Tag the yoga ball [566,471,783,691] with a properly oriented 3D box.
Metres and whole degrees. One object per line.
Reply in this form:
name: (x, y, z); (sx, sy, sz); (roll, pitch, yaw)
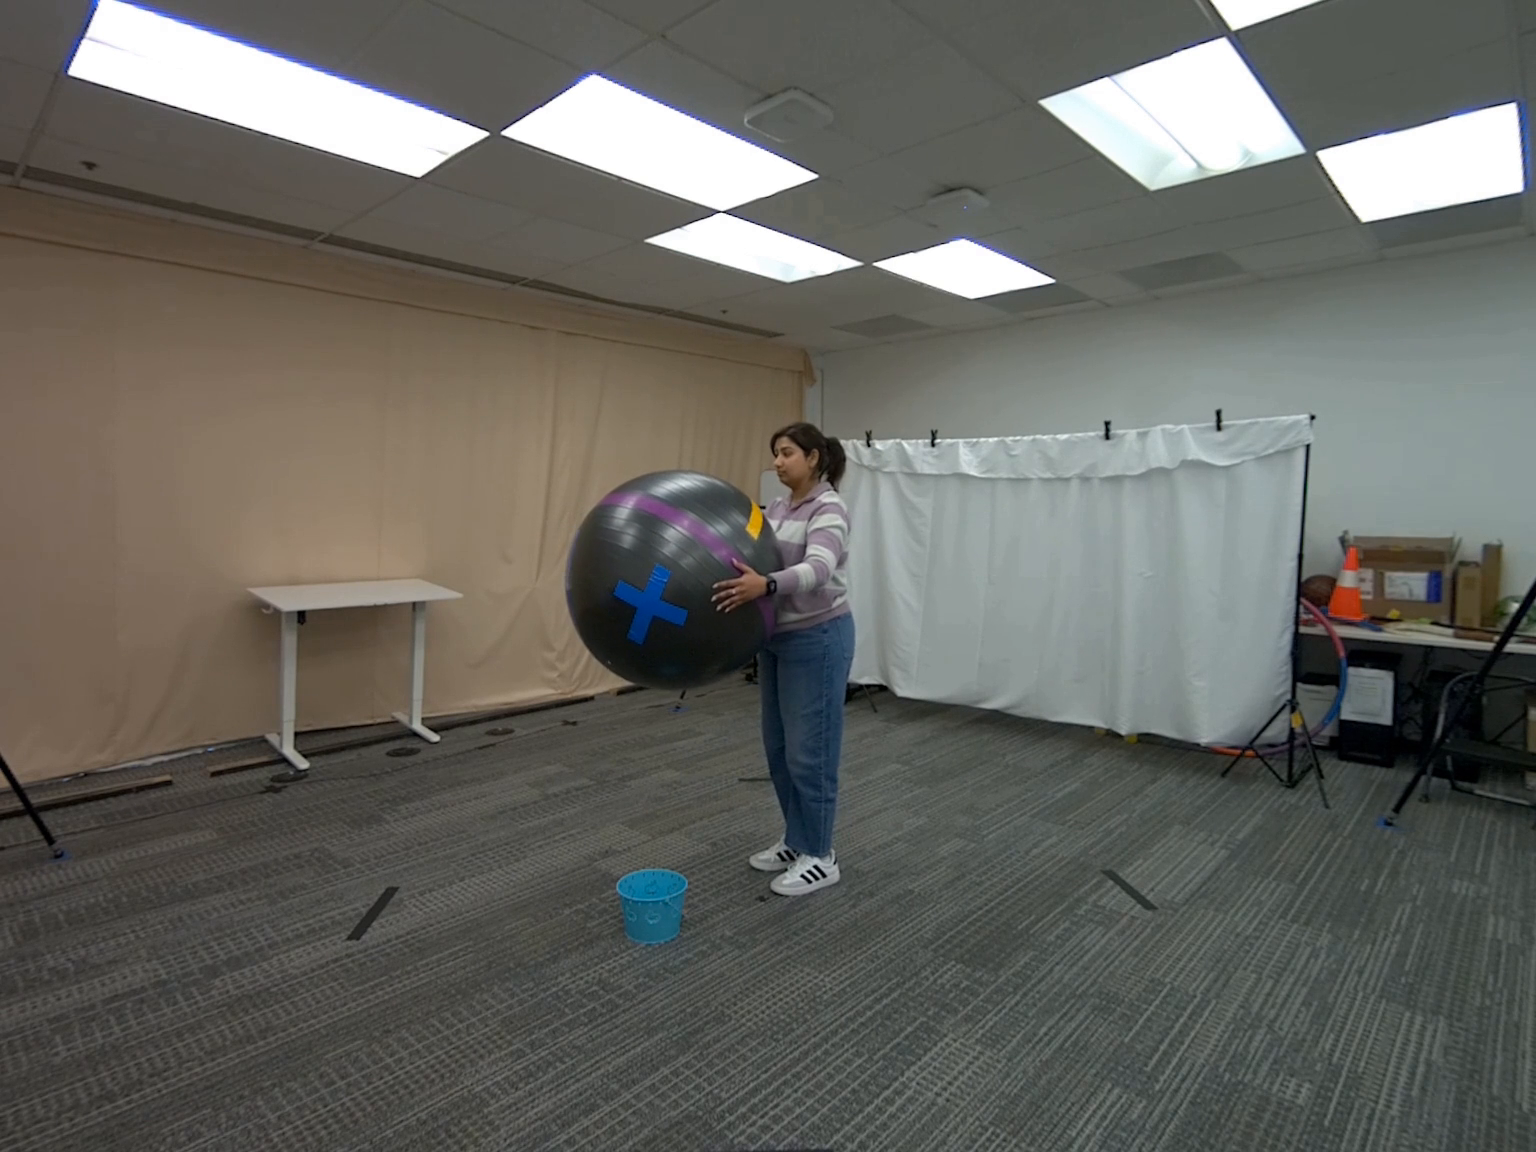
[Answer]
yoga ball: (-0.329, 0.018, 2.908); (0.757, 0.756, 0.761); (0, 4, -2)
